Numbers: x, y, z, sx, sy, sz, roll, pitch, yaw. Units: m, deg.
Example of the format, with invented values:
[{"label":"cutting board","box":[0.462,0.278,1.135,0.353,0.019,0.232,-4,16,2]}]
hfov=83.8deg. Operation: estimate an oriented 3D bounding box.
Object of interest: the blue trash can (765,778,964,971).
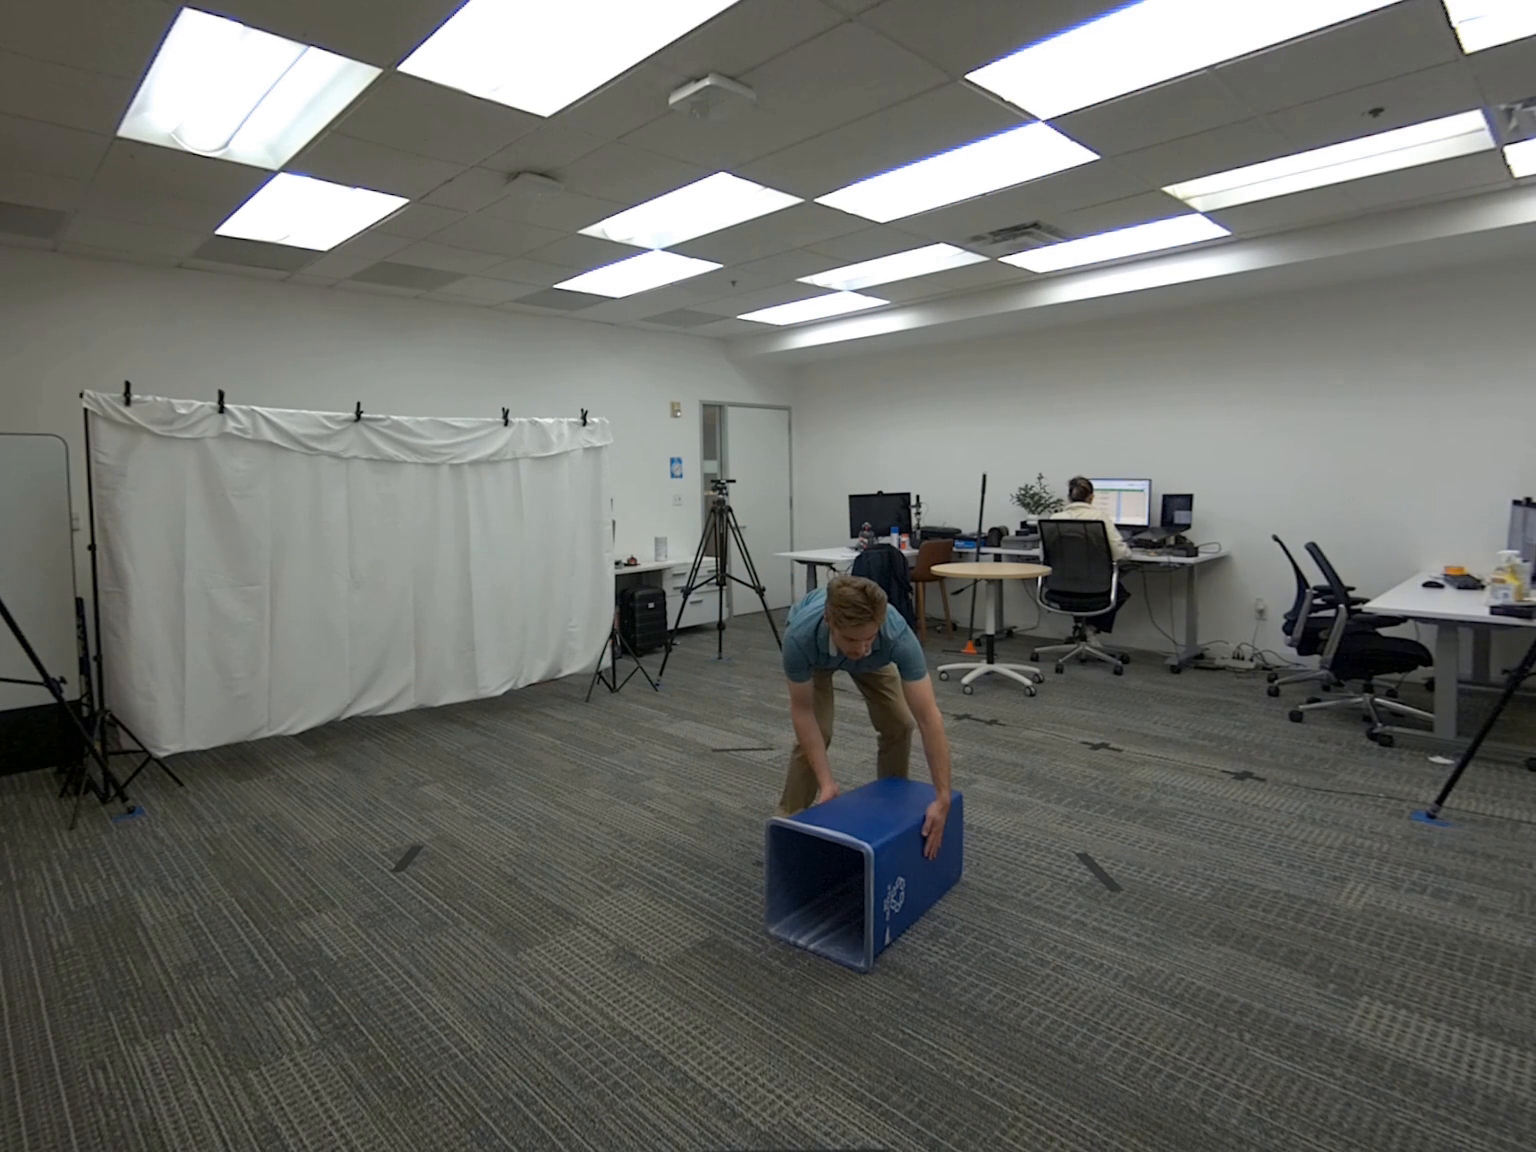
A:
[{"label":"blue trash can","box":[0.343,0.912,2.783,0.385,0.377,0.694,2,3,37]}]
